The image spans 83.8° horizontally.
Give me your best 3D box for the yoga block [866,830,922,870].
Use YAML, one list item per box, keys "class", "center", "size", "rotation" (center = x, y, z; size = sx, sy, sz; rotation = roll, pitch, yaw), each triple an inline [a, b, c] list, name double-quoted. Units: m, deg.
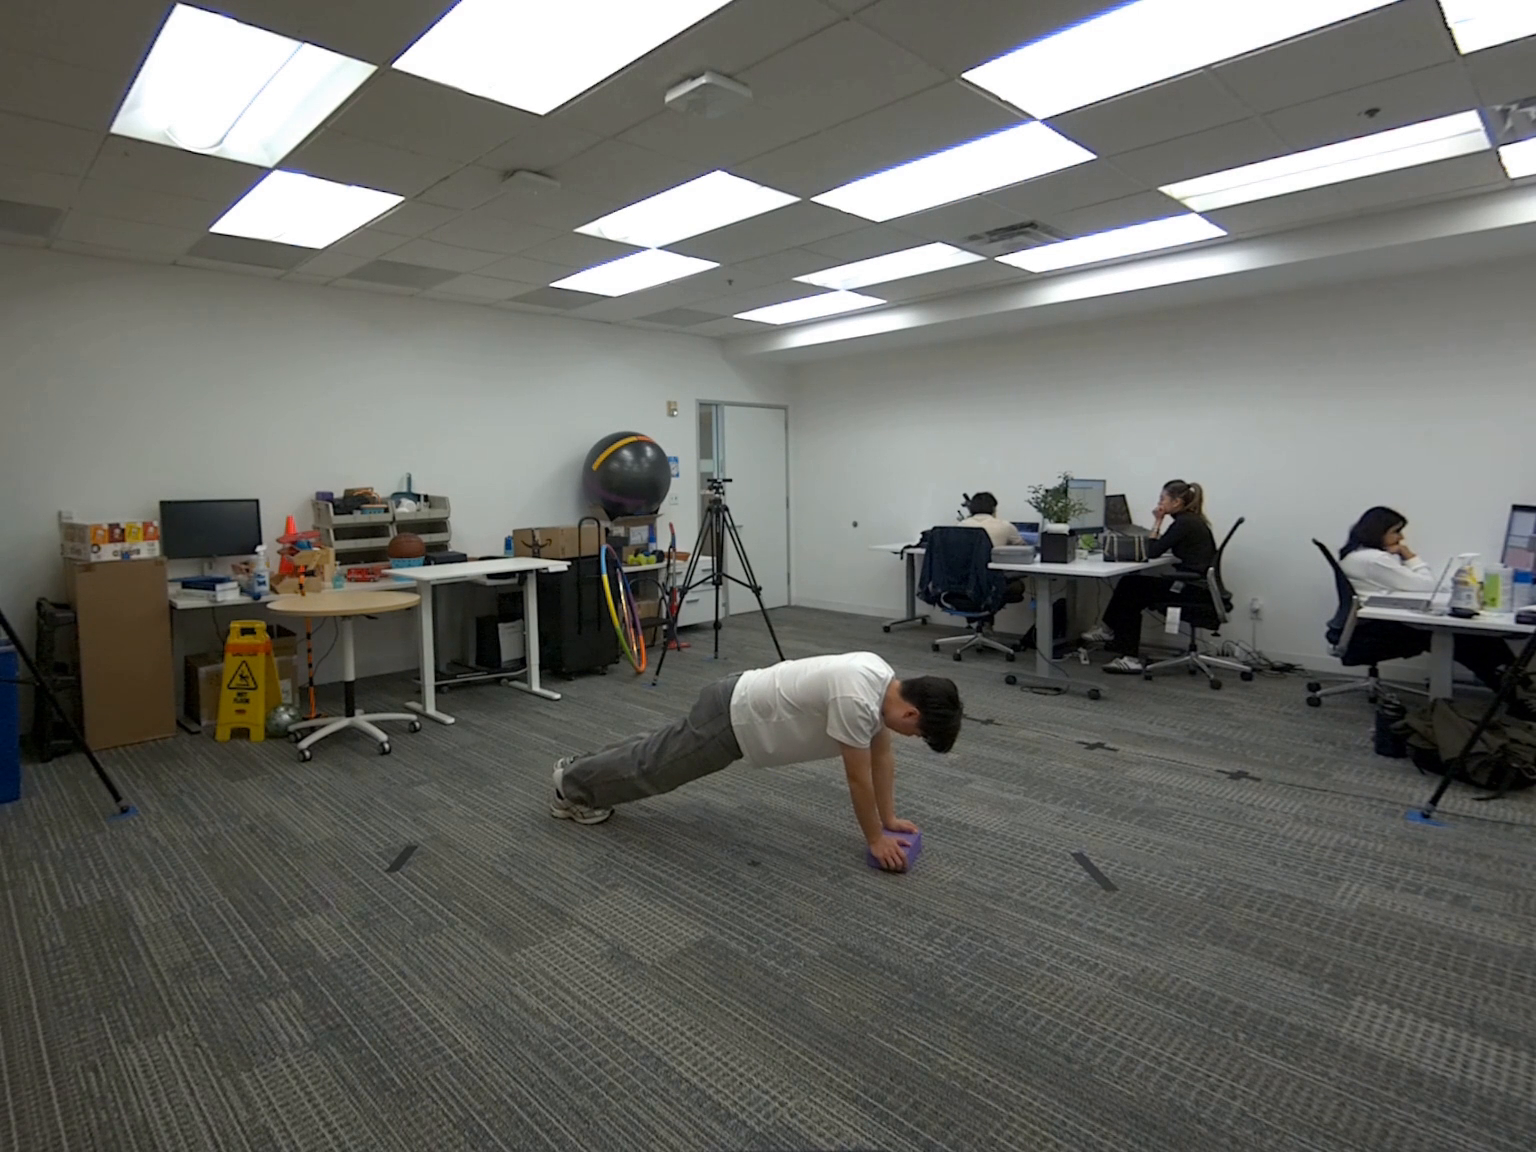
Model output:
- class: "yoga block"
  center: [0.469, 1.001, 3.138]
  size: [0.153, 0.076, 0.225]
  rotation: [3, 6, 27]
